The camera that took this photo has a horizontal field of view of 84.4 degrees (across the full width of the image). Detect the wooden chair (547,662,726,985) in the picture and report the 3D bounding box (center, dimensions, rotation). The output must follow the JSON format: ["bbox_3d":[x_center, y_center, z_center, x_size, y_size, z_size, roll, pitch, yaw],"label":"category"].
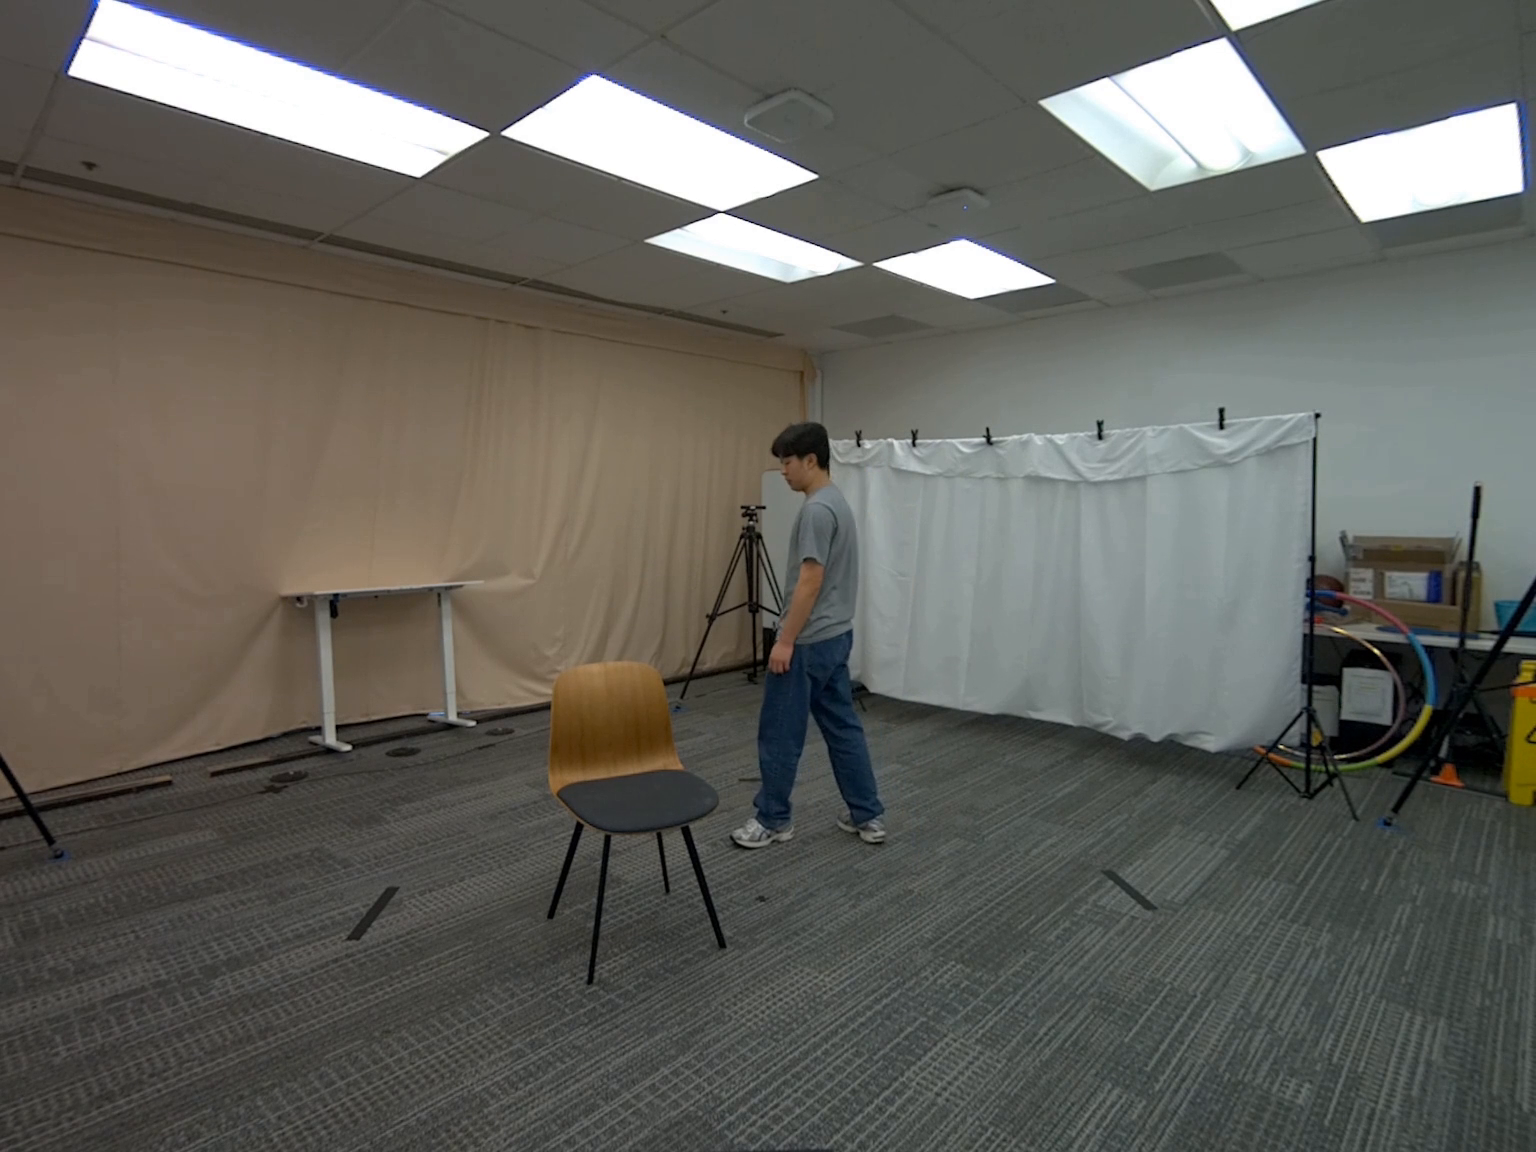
[{"bbox_3d":[-0.437,0.742,2.715,0.466,0.878,0.536,-2,-1,-28],"label":"wooden chair"}]
